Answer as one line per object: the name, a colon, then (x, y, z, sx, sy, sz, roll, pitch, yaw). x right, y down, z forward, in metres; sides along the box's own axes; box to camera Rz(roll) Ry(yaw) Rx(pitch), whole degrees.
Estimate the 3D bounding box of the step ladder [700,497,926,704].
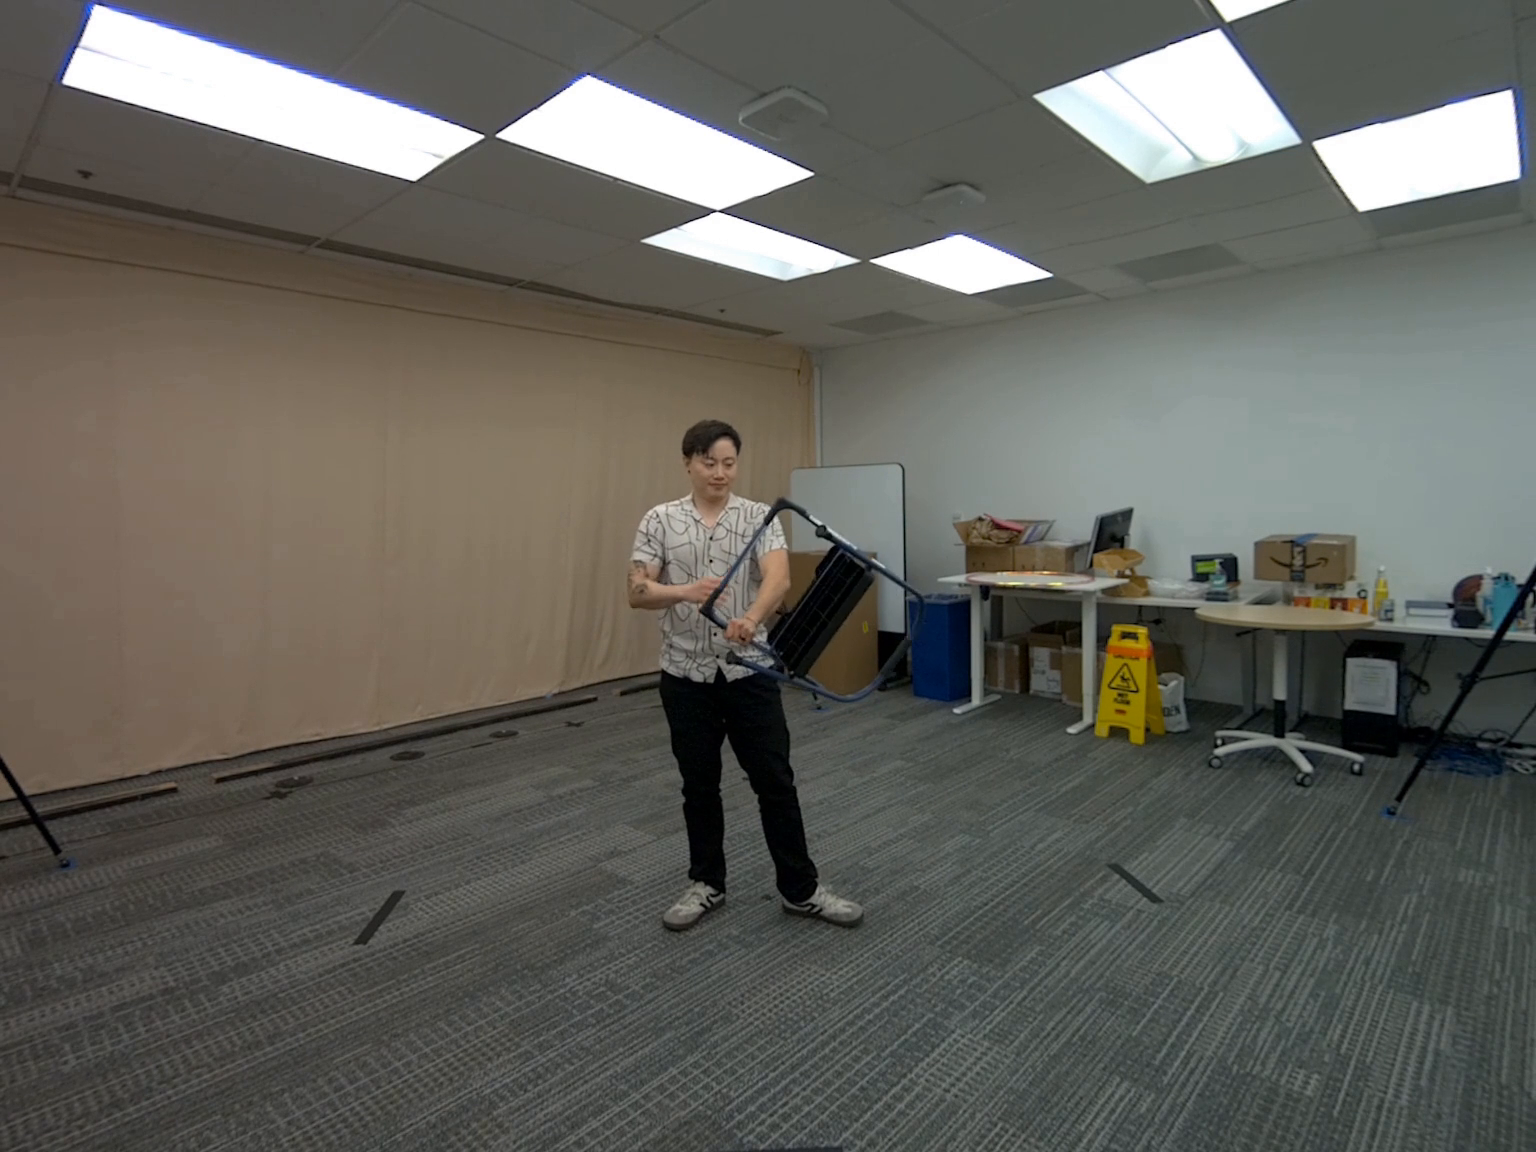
step ladder: (0.191, 0.152, 2.380, 0.590, 0.431, 0.358, 33, 8, -24)
